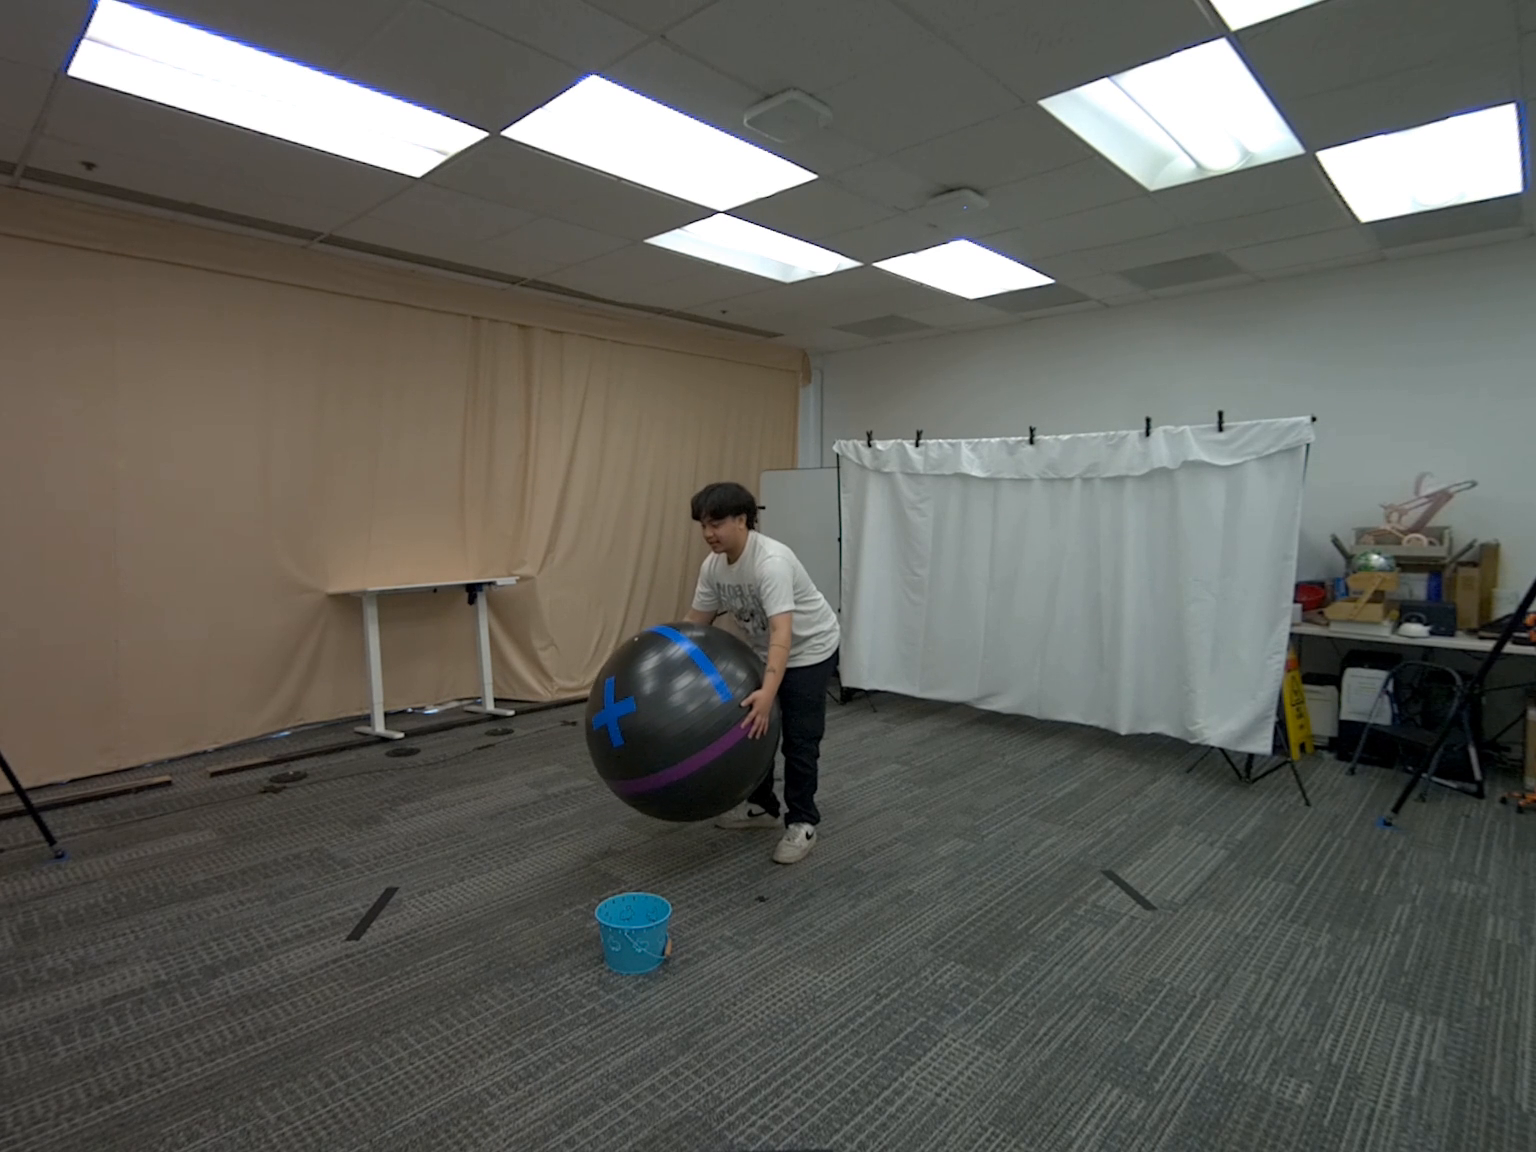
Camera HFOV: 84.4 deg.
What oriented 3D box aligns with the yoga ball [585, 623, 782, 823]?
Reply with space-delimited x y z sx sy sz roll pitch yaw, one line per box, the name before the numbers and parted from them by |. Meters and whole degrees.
yoga ball | -0.331 0.557 3.277 0.757 0.756 0.760 0 4 -2
